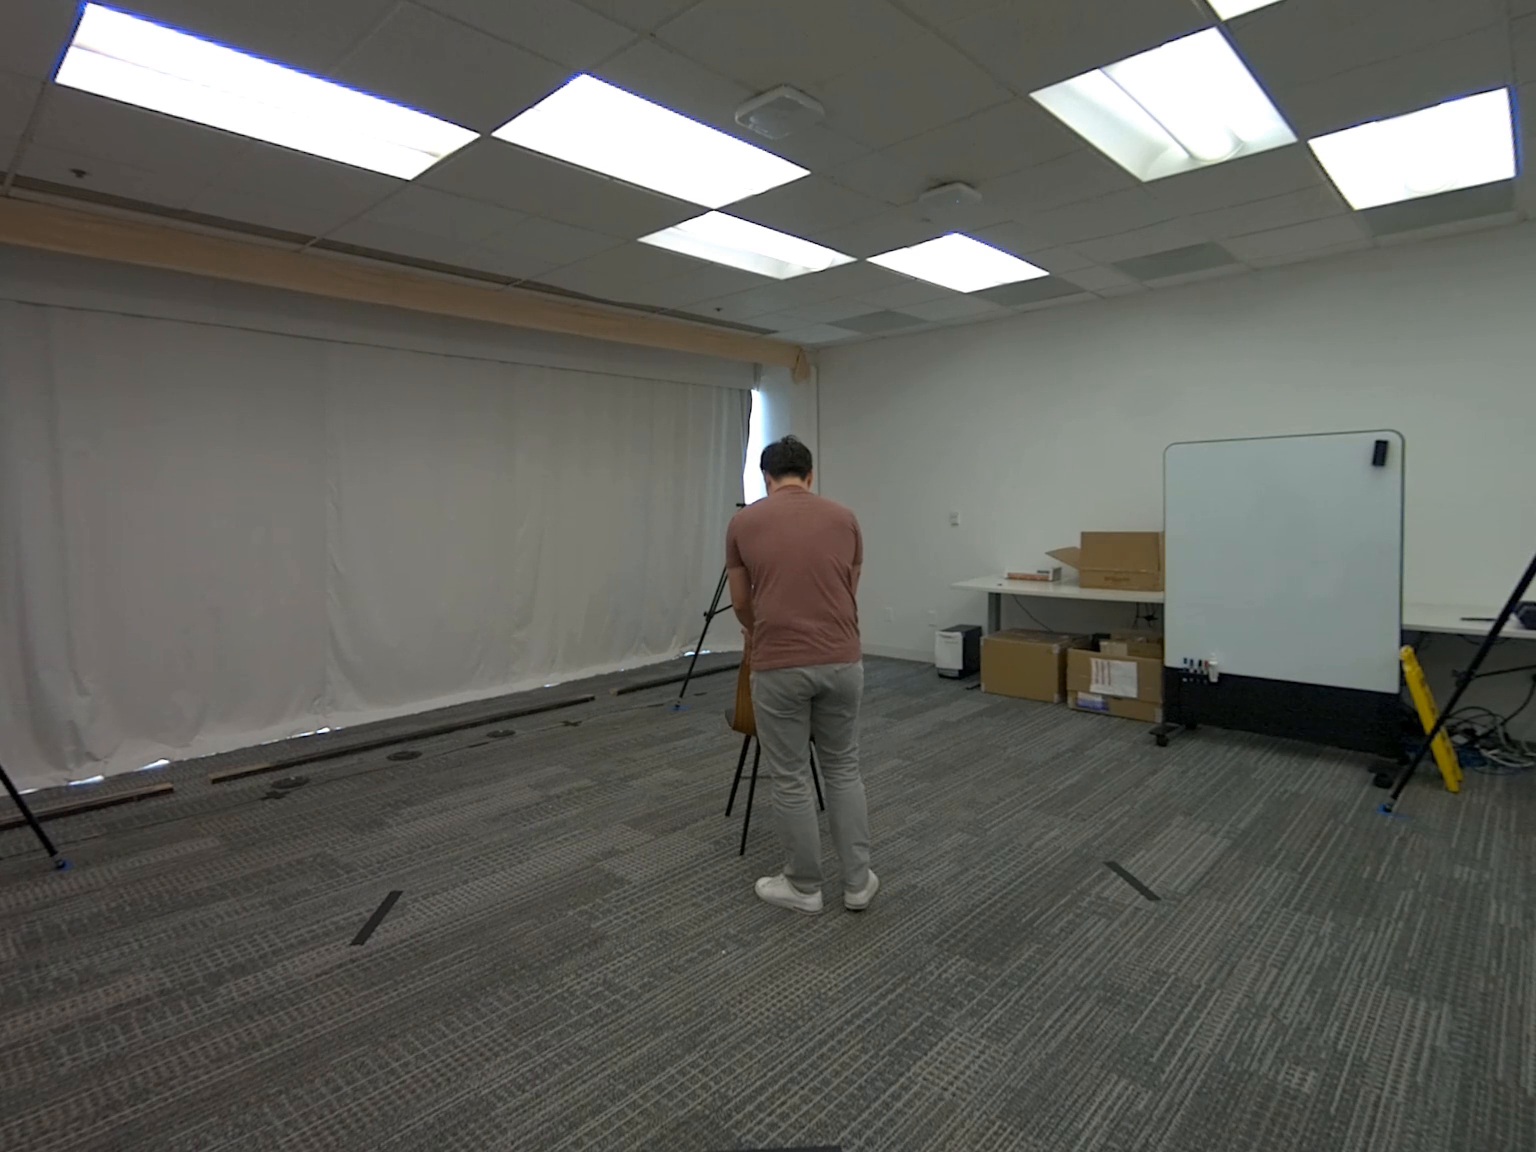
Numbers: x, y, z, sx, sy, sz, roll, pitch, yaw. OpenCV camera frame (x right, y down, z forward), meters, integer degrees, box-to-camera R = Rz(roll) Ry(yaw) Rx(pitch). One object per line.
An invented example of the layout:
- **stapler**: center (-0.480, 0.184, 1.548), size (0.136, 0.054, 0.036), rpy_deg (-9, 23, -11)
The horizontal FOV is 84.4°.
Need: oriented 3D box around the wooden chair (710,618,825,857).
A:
- **wooden chair**: center (0.060, 0.657, 3.555), size (0.474, 0.873, 0.530), rpy_deg (-2, 7, -8)
